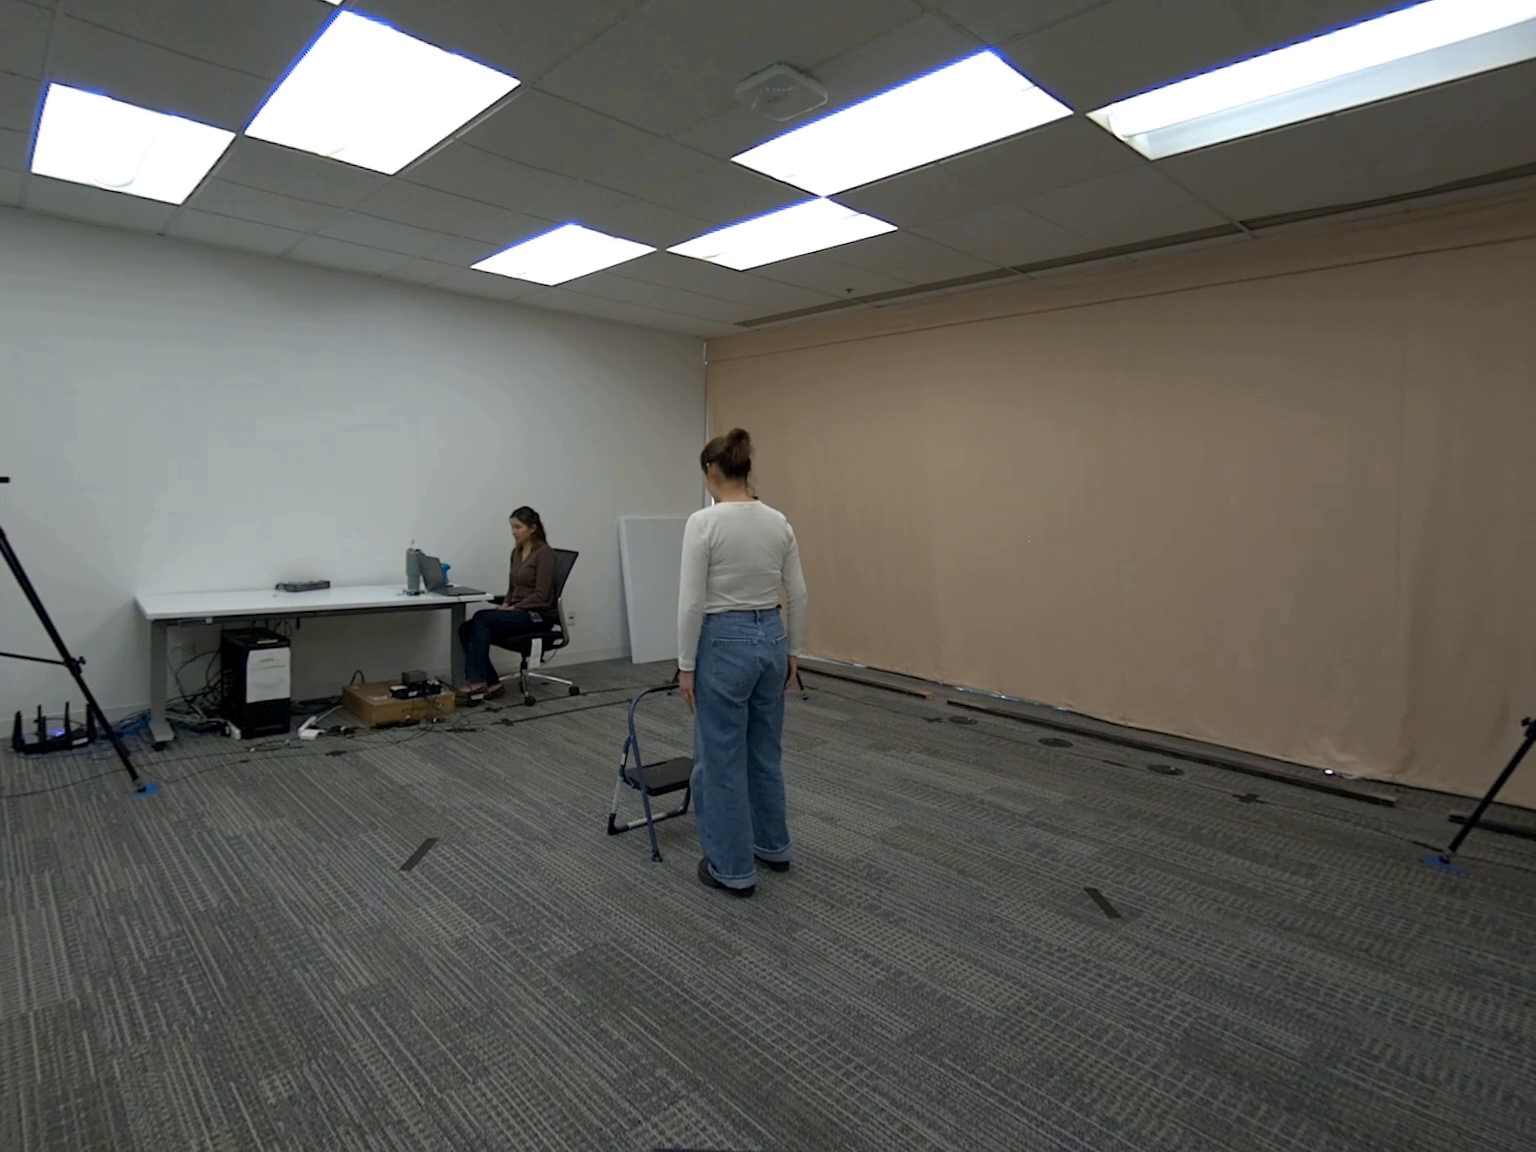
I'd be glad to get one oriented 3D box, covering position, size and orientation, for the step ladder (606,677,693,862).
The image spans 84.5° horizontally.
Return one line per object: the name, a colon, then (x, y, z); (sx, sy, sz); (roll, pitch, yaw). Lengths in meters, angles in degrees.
step ladder: (-0.389, 0.763, 3.446); (0.421, 0.604, 0.358); (-2, 5, -44)
